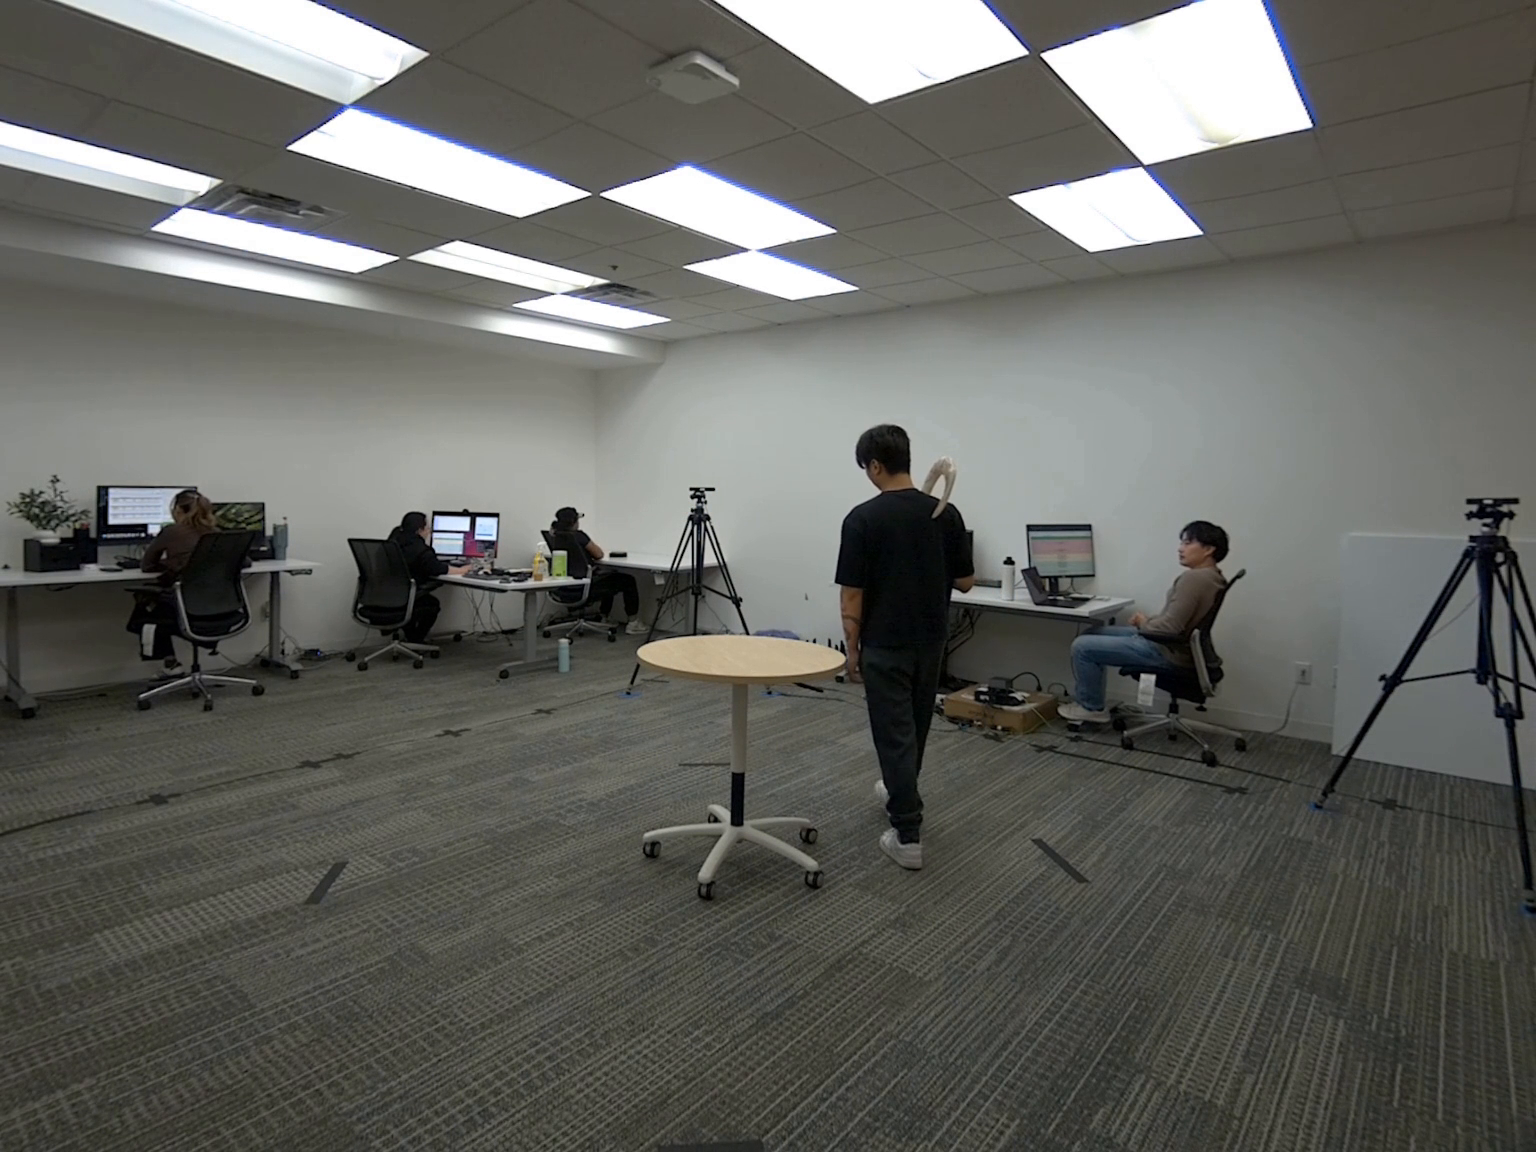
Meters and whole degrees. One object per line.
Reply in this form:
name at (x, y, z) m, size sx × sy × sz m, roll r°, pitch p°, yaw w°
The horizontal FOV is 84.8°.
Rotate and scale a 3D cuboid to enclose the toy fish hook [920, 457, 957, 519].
toy fish hook at (0.589, -0.234, 3.287) m, size 0.047 × 0.500 × 0.231 m, roll 15°, pitch 36°, yaw -14°
